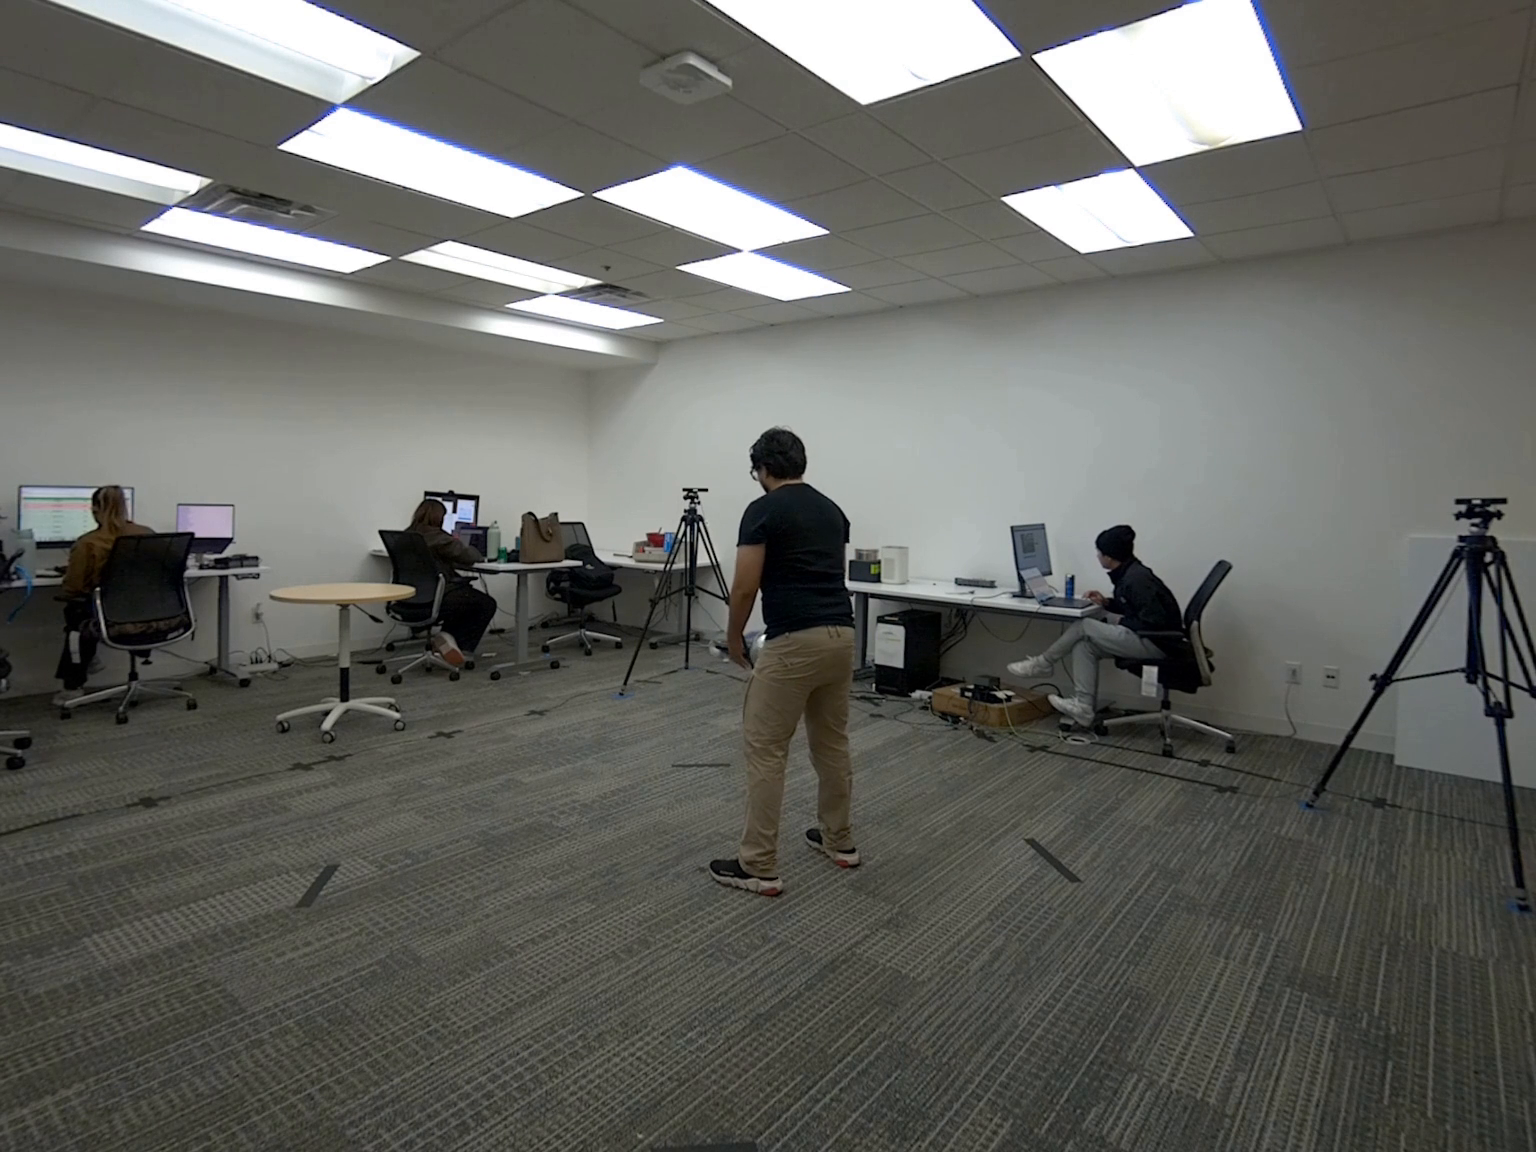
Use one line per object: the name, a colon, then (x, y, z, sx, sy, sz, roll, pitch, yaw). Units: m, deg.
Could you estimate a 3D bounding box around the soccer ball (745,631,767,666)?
soccer ball: (0.016, 0.299, 3.435, 0.187, 0.187, 0.188, 1, 4, -2)
